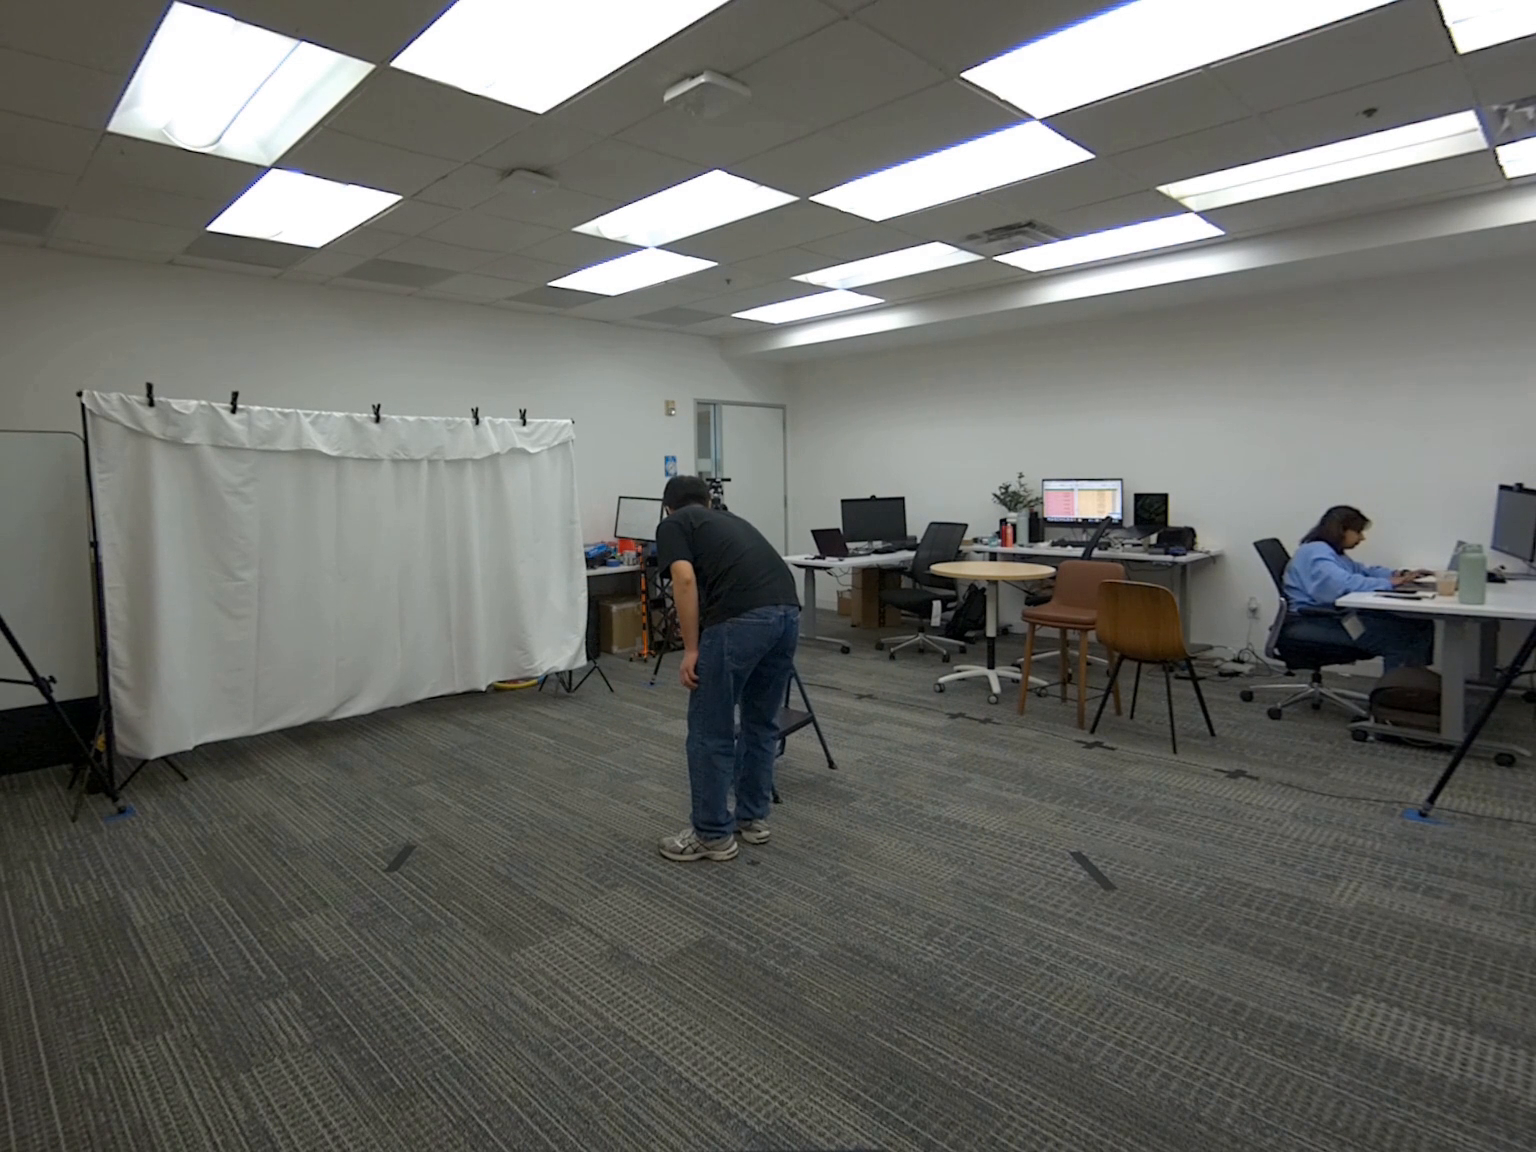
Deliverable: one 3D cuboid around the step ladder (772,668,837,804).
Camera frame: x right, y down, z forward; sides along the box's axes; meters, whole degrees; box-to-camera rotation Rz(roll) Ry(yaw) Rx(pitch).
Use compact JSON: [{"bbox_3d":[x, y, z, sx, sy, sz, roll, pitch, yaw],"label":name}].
[{"bbox_3d":[0.028,0.630,3.893,0.360,0.601,0.422,2,12,42],"label":"step ladder"}]
